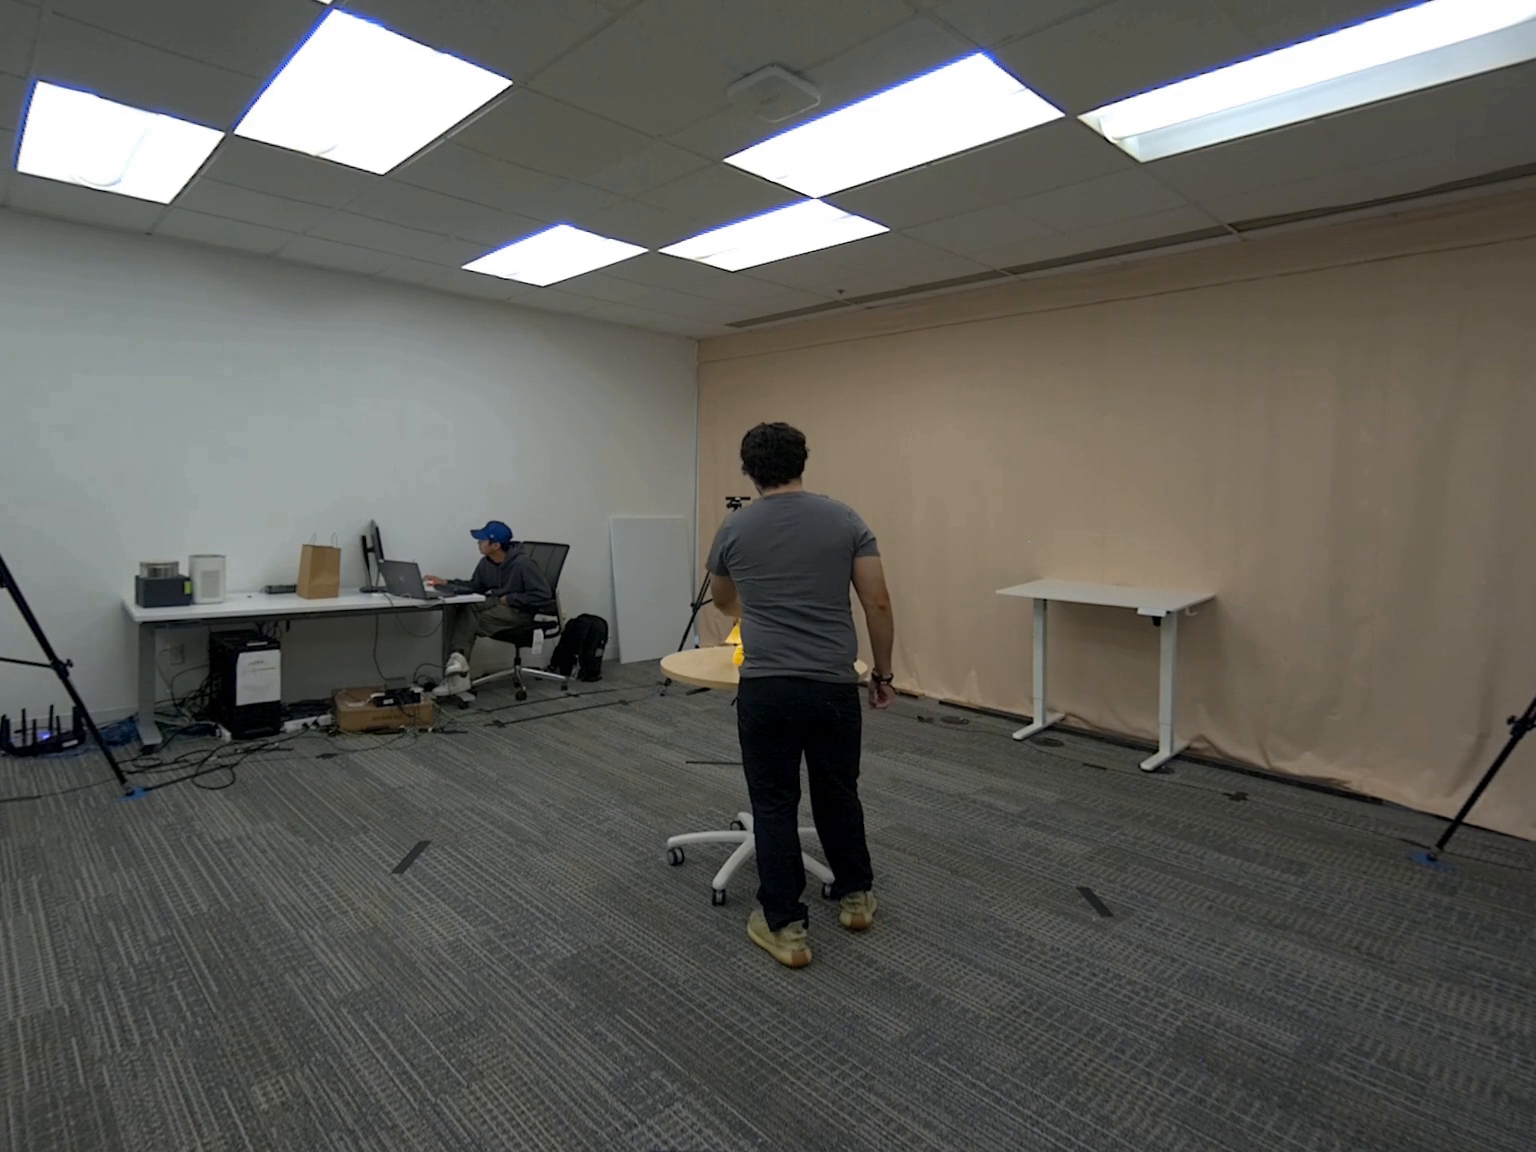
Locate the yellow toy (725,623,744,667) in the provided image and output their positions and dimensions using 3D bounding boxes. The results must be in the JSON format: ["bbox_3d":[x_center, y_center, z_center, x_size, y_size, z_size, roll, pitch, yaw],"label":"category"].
[{"bbox_3d":[-0.031,0.211,3.134,0.208,0.230,0.190,3,4,23],"label":"yellow toy"}]
